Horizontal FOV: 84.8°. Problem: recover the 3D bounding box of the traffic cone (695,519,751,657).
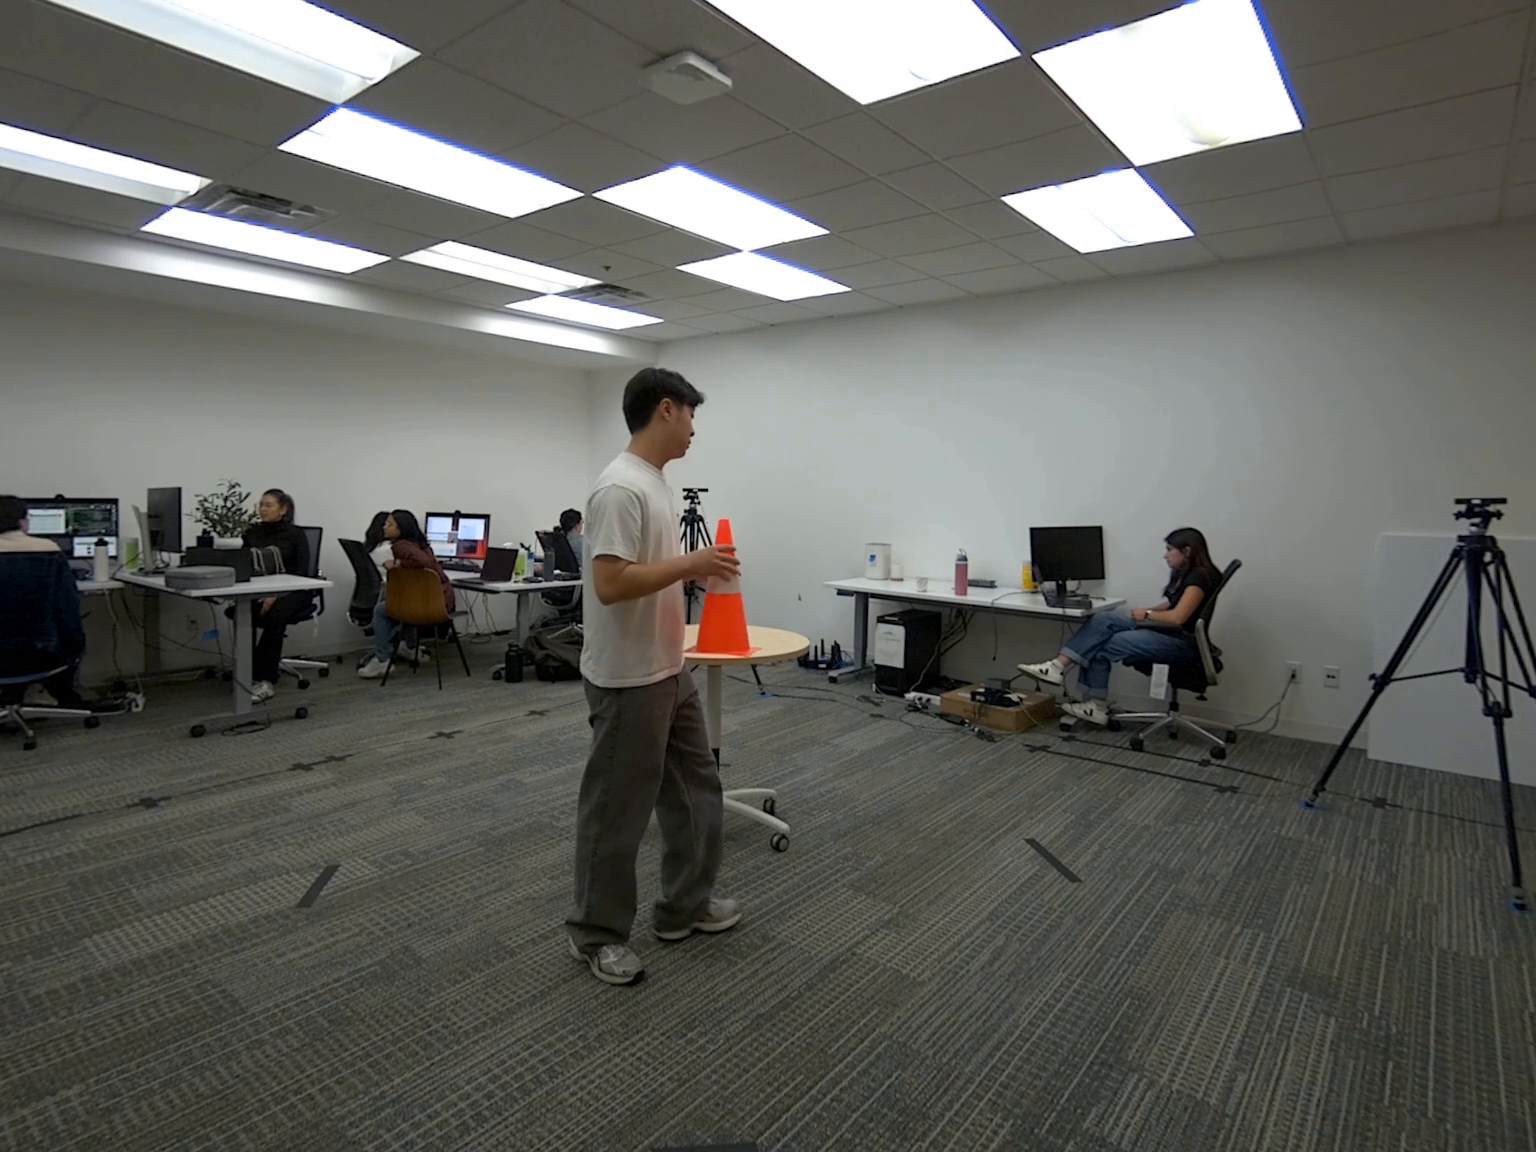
[{"bbox_3d":[-0.129,0.025,2.467,0.208,0.384,0.200,1,0,15],"label":"traffic cone"}]
